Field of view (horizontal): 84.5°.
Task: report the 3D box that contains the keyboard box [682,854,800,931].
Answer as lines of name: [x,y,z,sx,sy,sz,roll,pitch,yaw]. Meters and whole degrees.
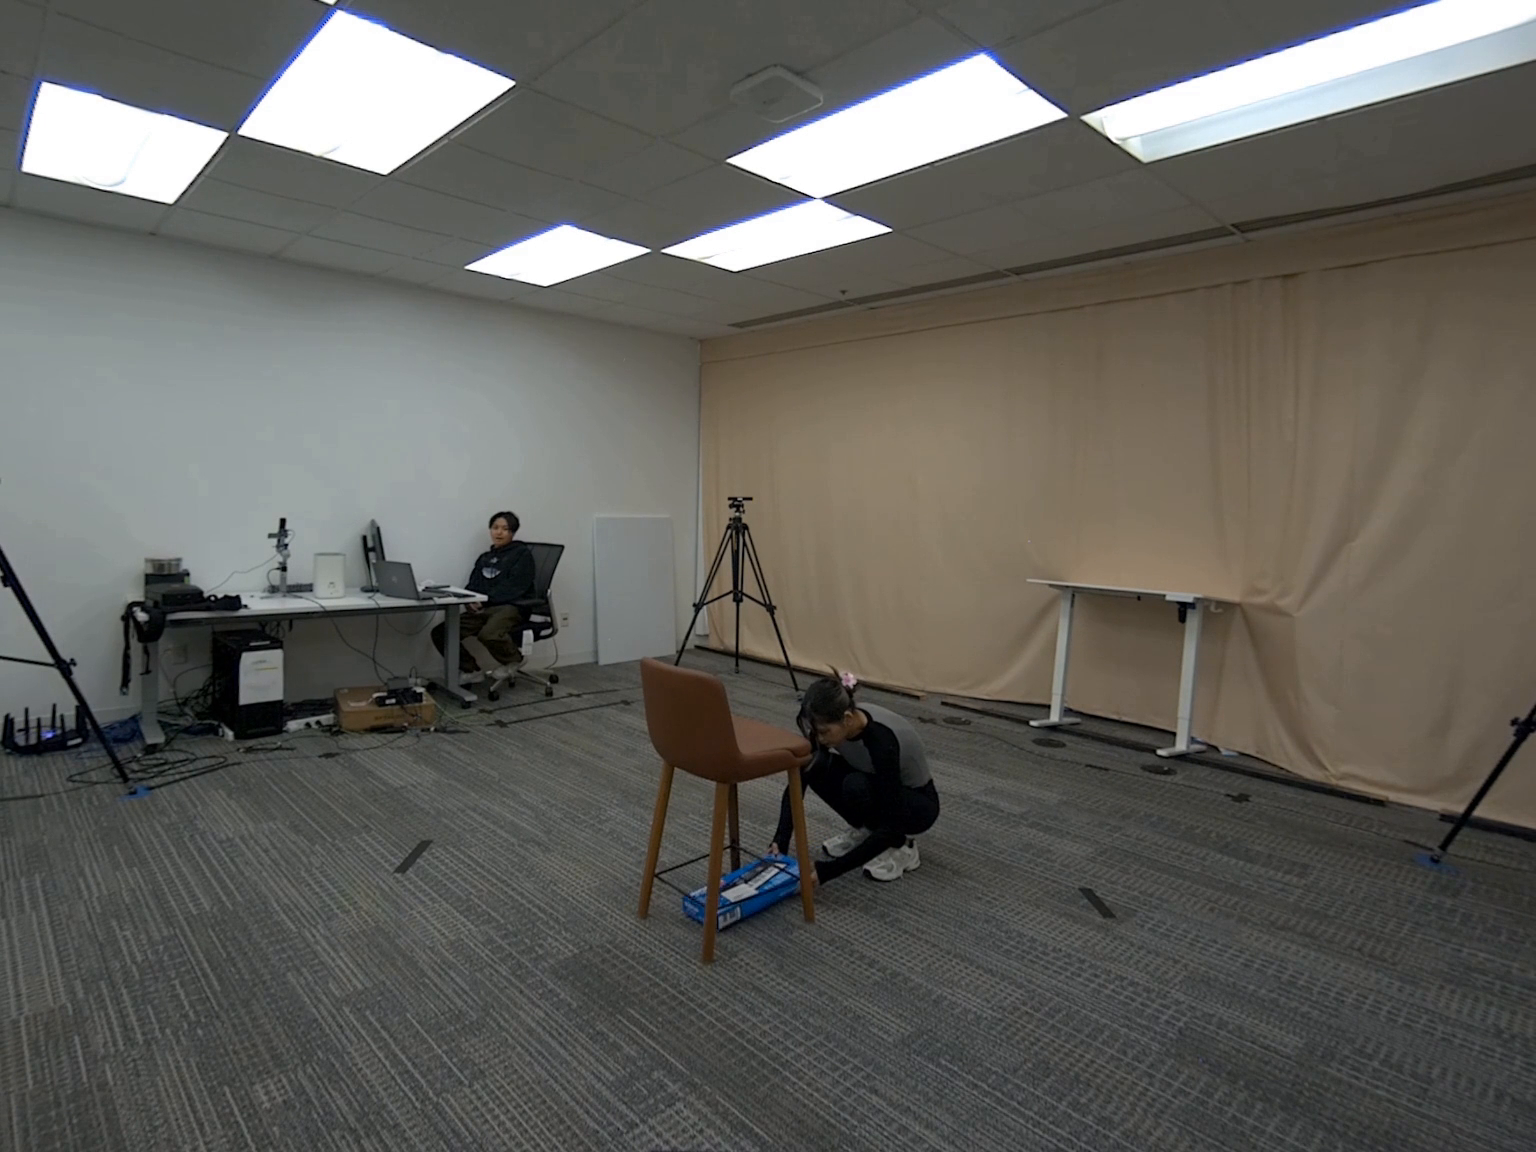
keyboard box: [-0.067,1.074,2.868,0.428,0.059,0.180,-9,10,-41]
